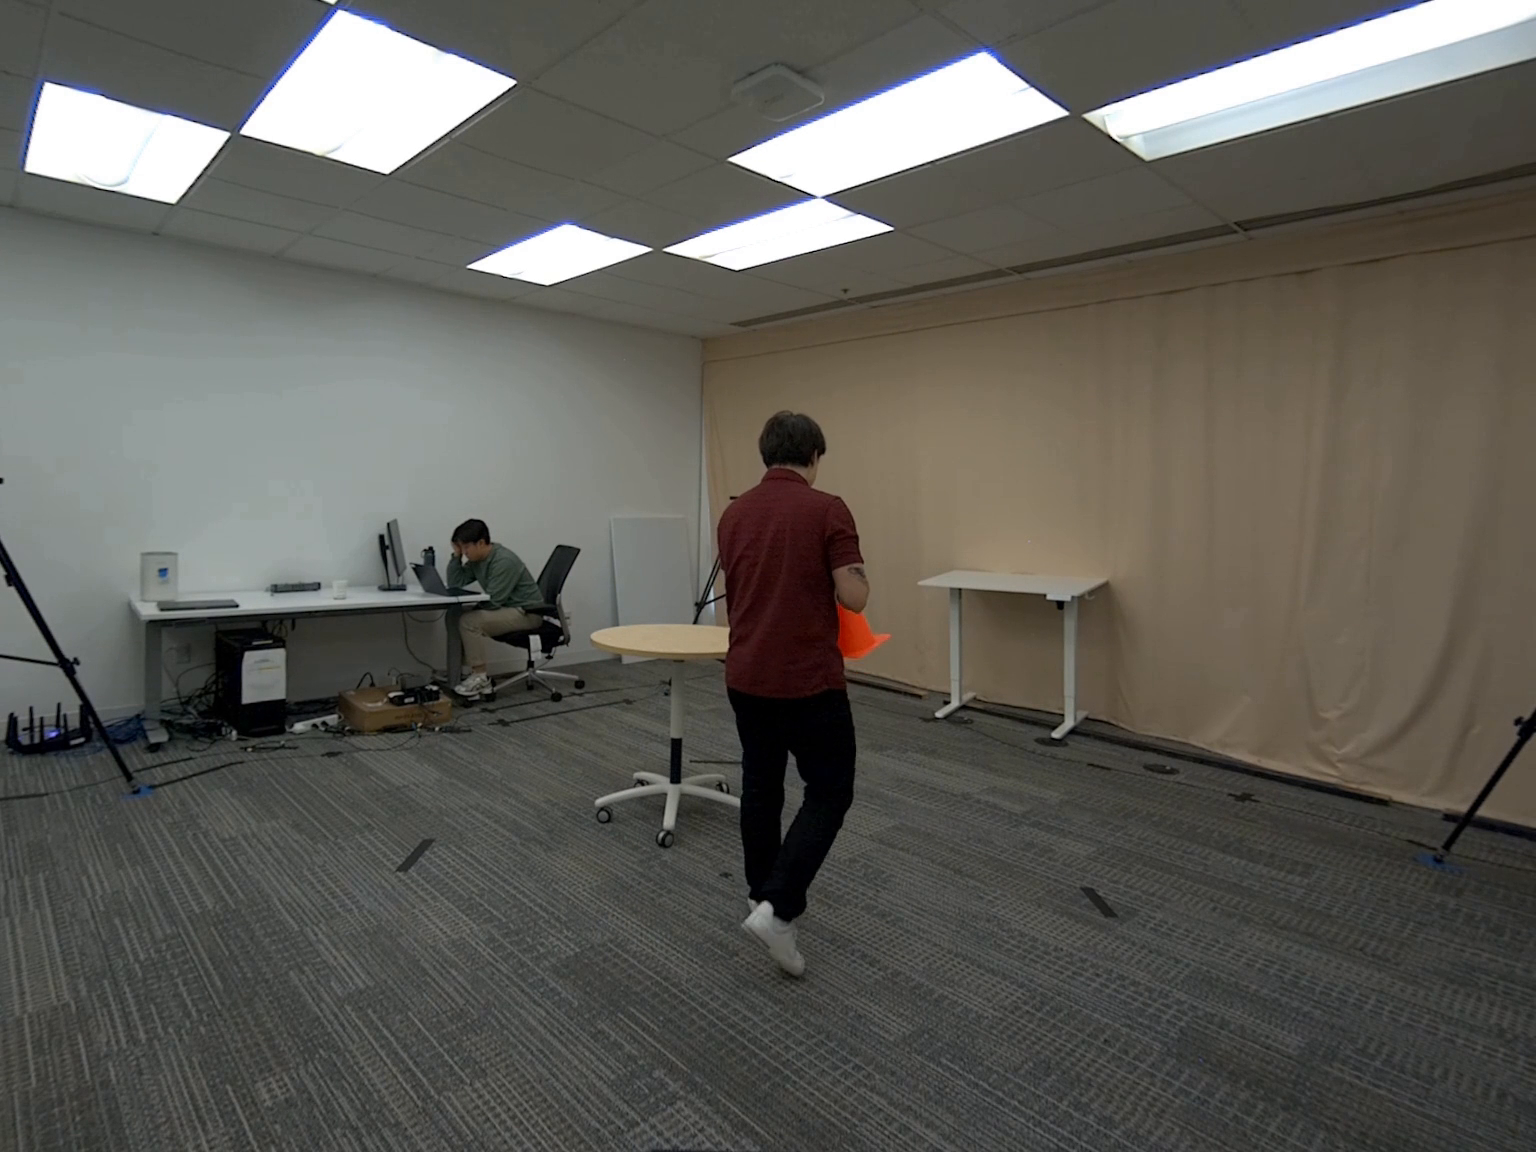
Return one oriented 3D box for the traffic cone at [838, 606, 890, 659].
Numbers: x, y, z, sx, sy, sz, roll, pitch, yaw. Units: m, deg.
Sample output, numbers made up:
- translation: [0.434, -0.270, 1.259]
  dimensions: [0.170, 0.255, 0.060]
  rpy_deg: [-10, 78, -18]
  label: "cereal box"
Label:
- translation: [0.230, 0.067, 2.805]
  dimensions: [0.209, 0.381, 0.200]
  rpy_deg: [-9, 9, 41]
  label: "traffic cone"
